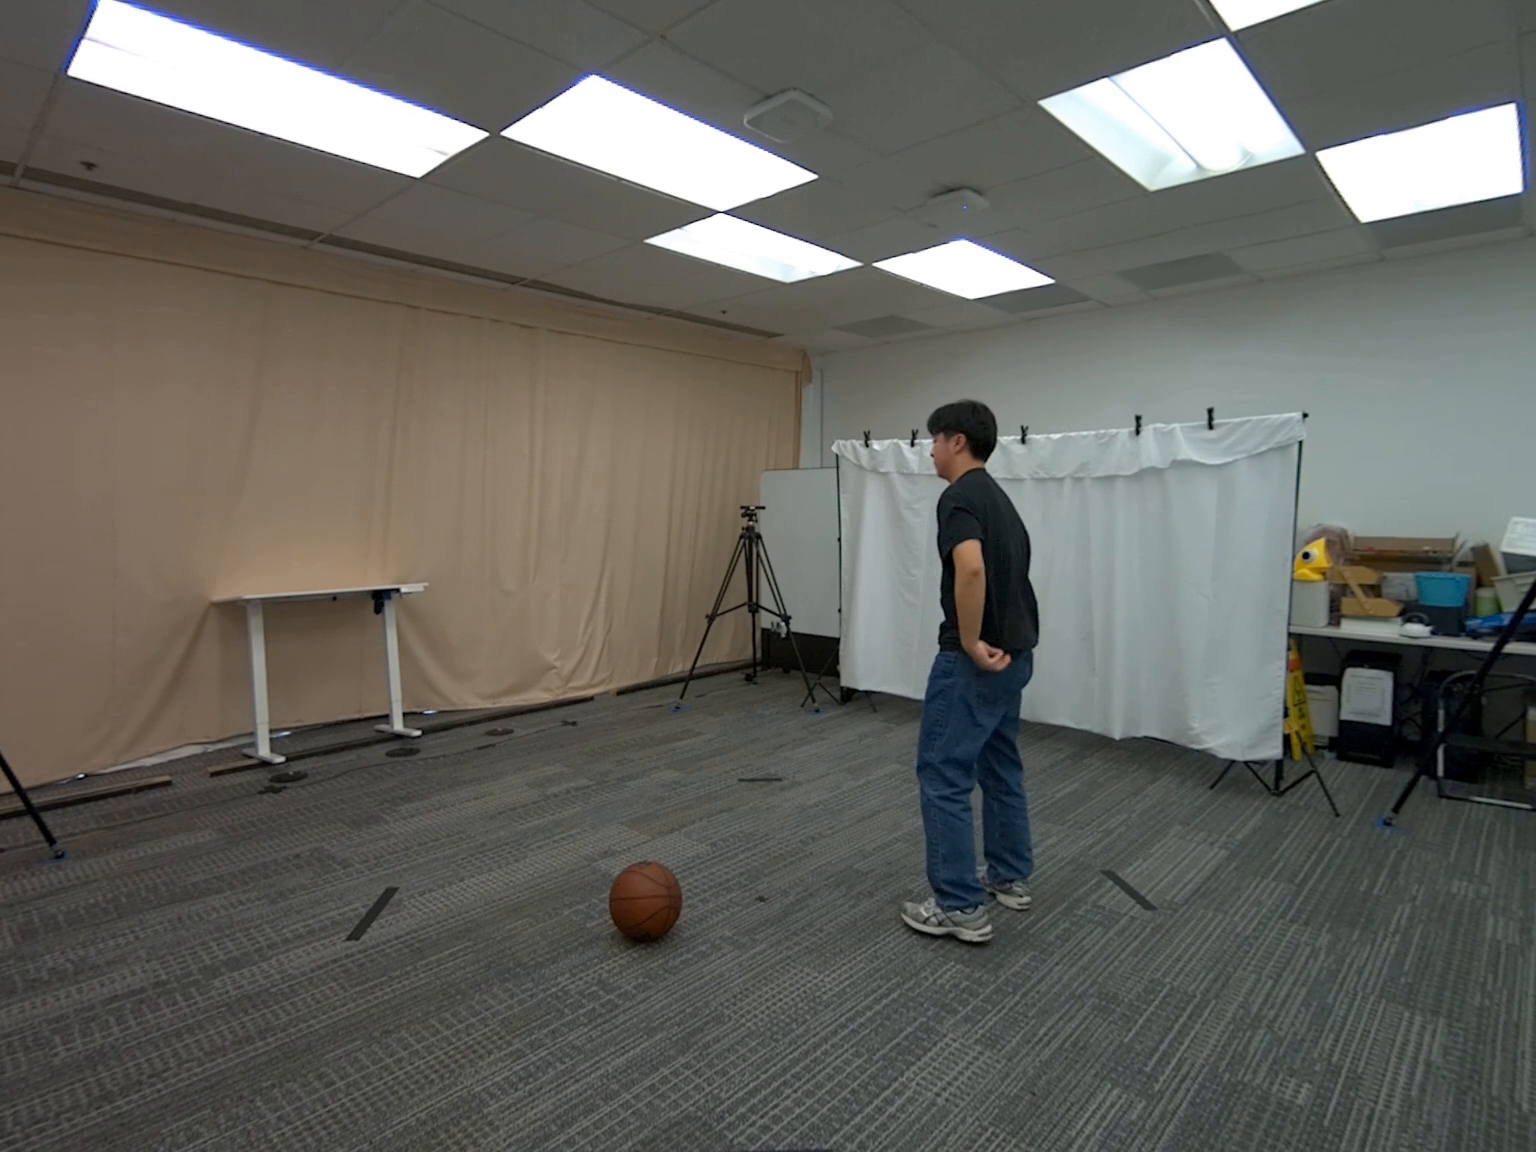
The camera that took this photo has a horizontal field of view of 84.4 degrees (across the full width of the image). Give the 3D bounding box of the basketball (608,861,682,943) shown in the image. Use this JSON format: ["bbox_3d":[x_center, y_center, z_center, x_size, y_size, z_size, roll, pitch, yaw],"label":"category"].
[{"bbox_3d":[-0.394,1.048,2.727,0.236,0.235,0.237,0,4,-2],"label":"basketball"}]
